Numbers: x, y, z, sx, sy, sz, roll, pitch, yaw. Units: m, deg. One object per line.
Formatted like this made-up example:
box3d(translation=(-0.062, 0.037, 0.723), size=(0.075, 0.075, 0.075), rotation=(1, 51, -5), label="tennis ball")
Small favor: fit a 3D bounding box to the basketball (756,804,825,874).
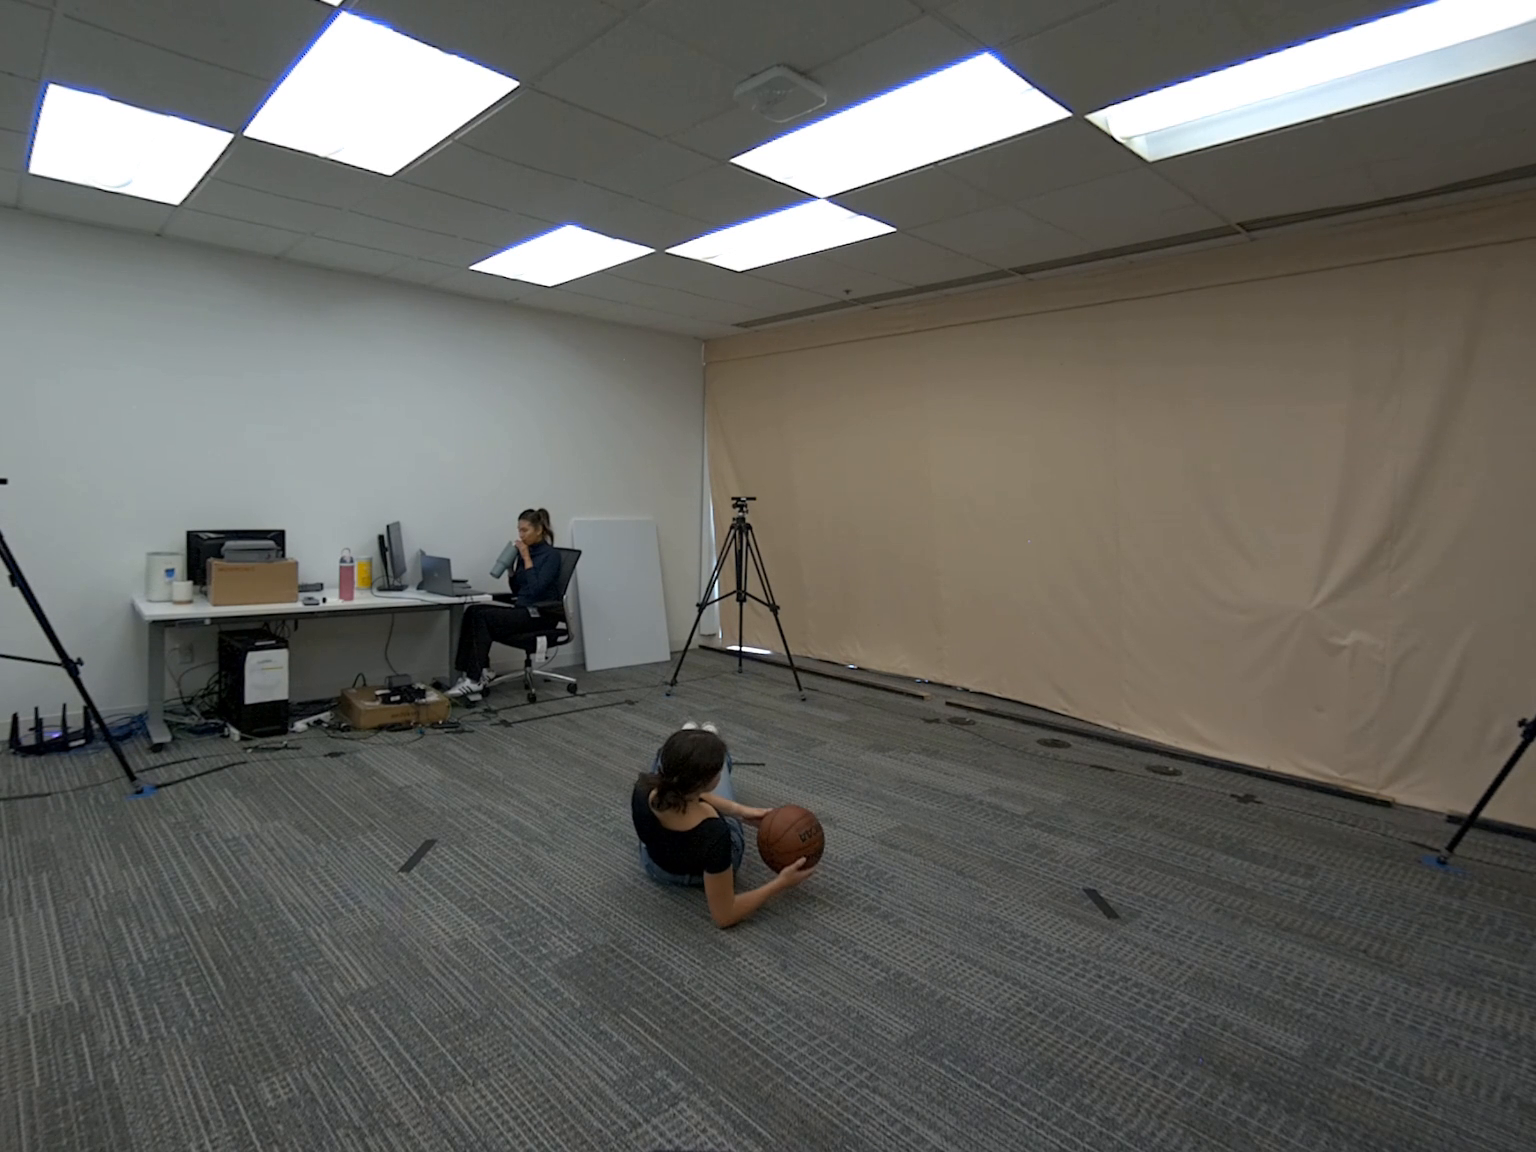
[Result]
box3d(translation=(0.070, 0.915, 2.957), size=(0.236, 0.235, 0.237), rotation=(1, 4, -1), label="basketball")
